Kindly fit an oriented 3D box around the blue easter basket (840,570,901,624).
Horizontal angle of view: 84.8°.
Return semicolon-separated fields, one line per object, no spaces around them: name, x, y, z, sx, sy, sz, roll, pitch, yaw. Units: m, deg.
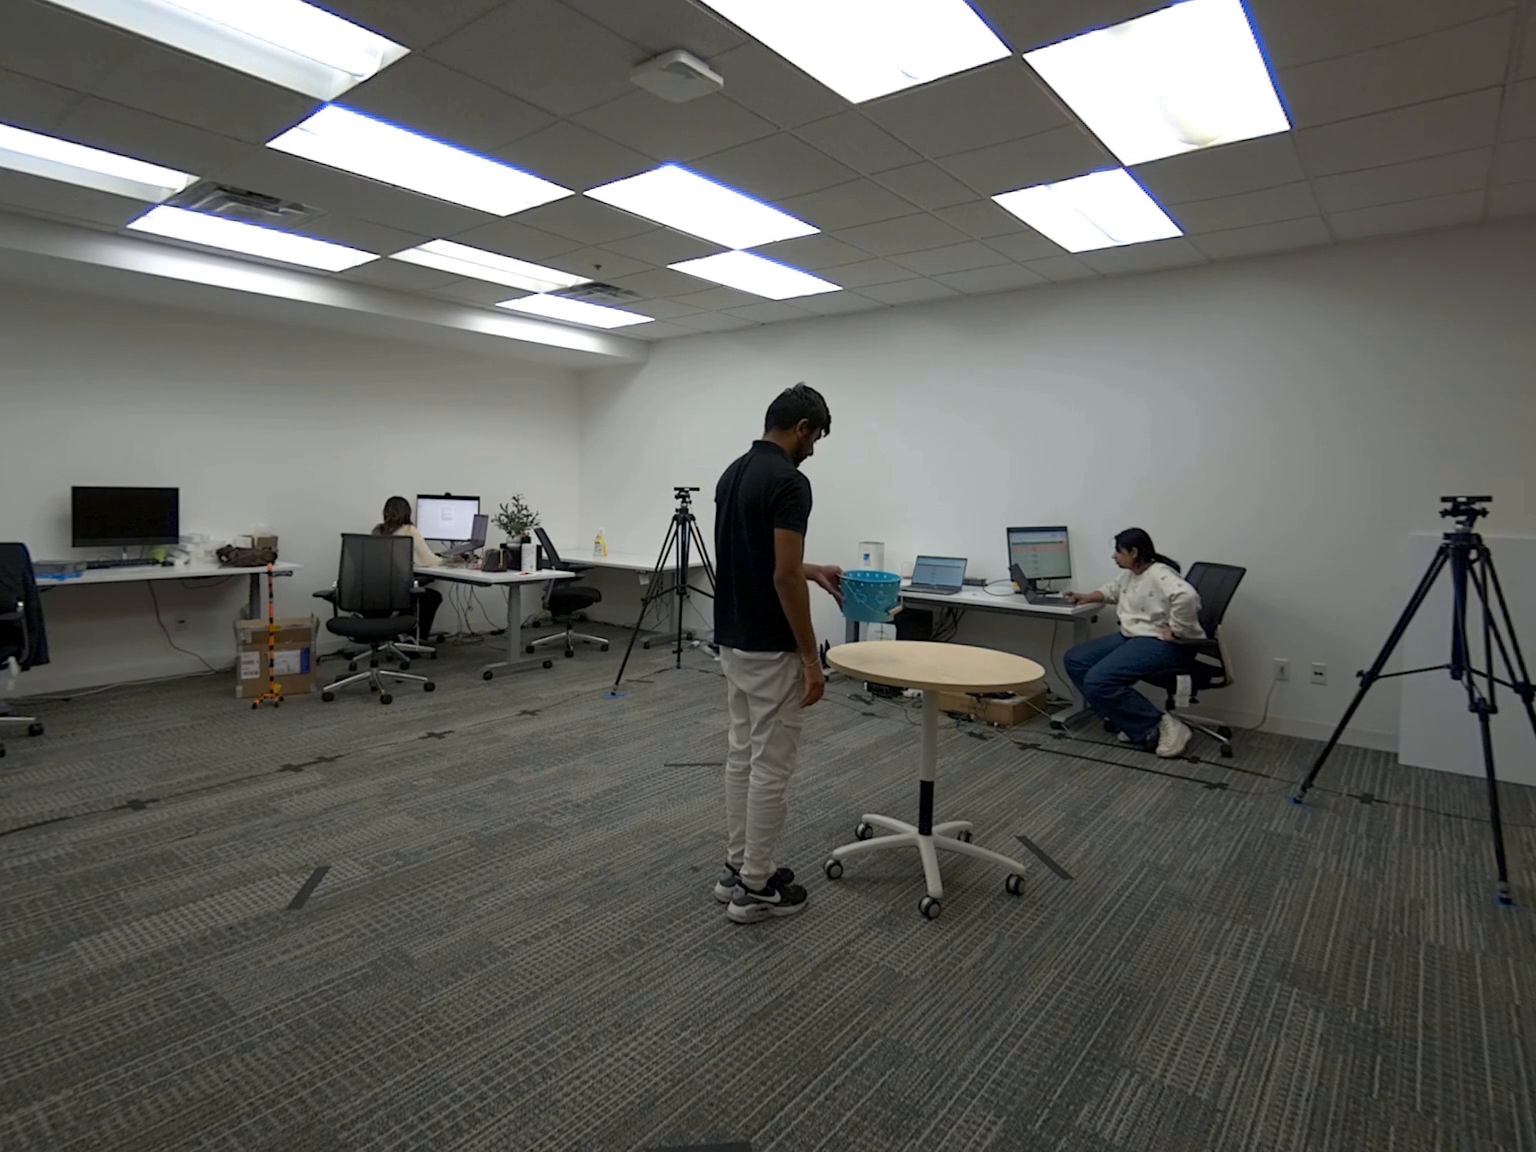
blue easter basket;0.363;0.076;3.044;0.243;0.155;0.245;0;7;-2
